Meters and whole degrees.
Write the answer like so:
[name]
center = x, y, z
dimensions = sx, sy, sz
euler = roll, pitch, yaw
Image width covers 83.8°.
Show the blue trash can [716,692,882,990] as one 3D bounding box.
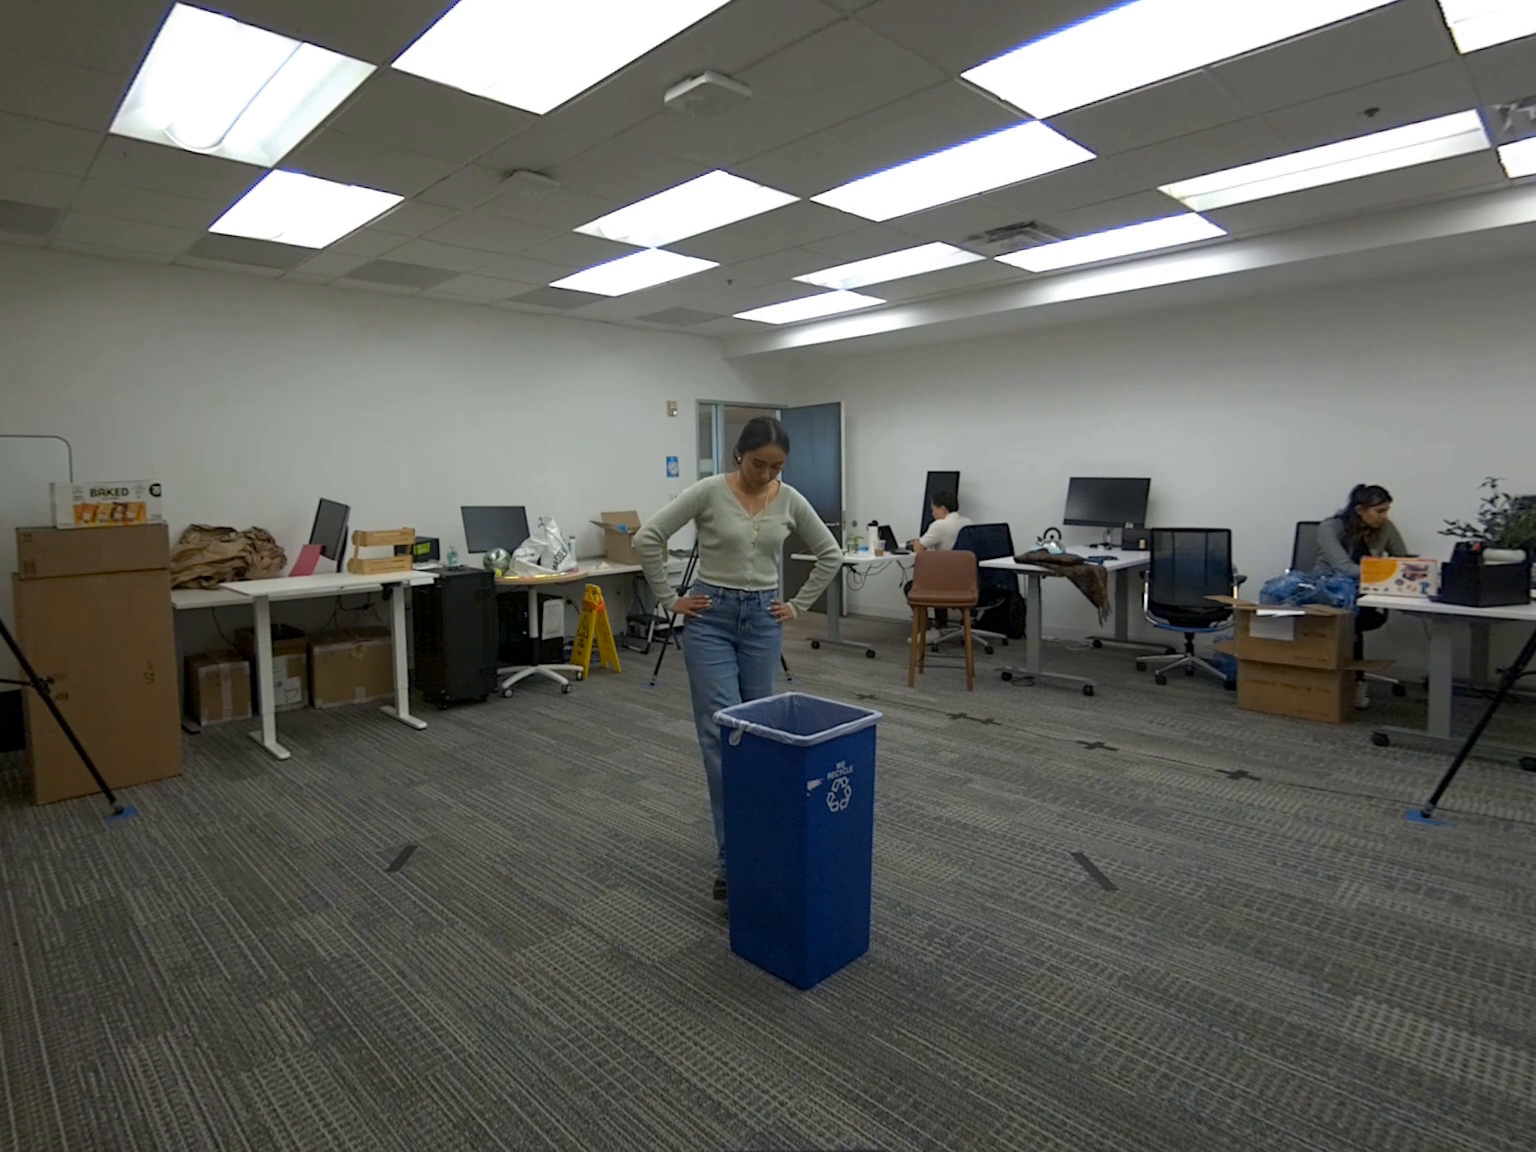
[blue trash can]
center = 0.101, 0.753, 2.507
dimensions = 0.385, 0.711, 0.368
euler = 3, 5, 44
